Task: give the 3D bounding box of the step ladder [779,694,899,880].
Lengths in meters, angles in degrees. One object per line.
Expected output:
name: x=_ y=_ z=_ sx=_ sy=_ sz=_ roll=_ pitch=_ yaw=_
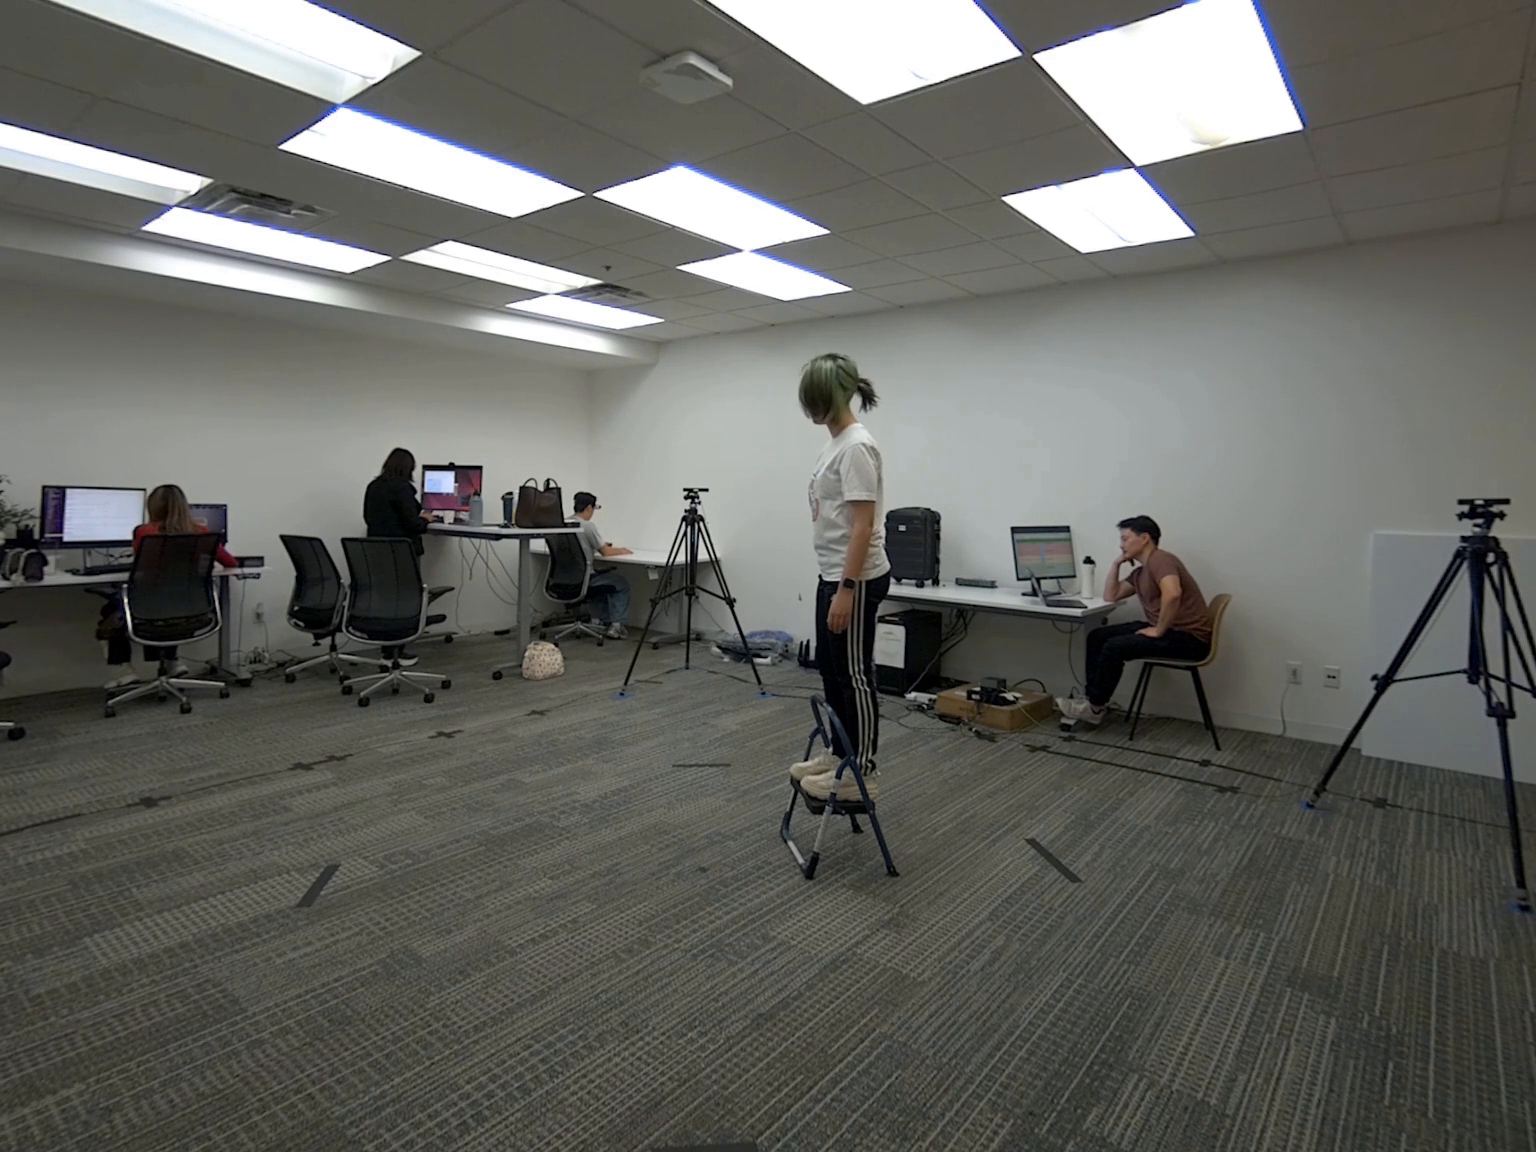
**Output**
step ladder: x=0.258 y=0.766 z=3.255 sx=0.345 sy=0.604 sz=0.437 roll=1 pitch=3 yaw=-12
